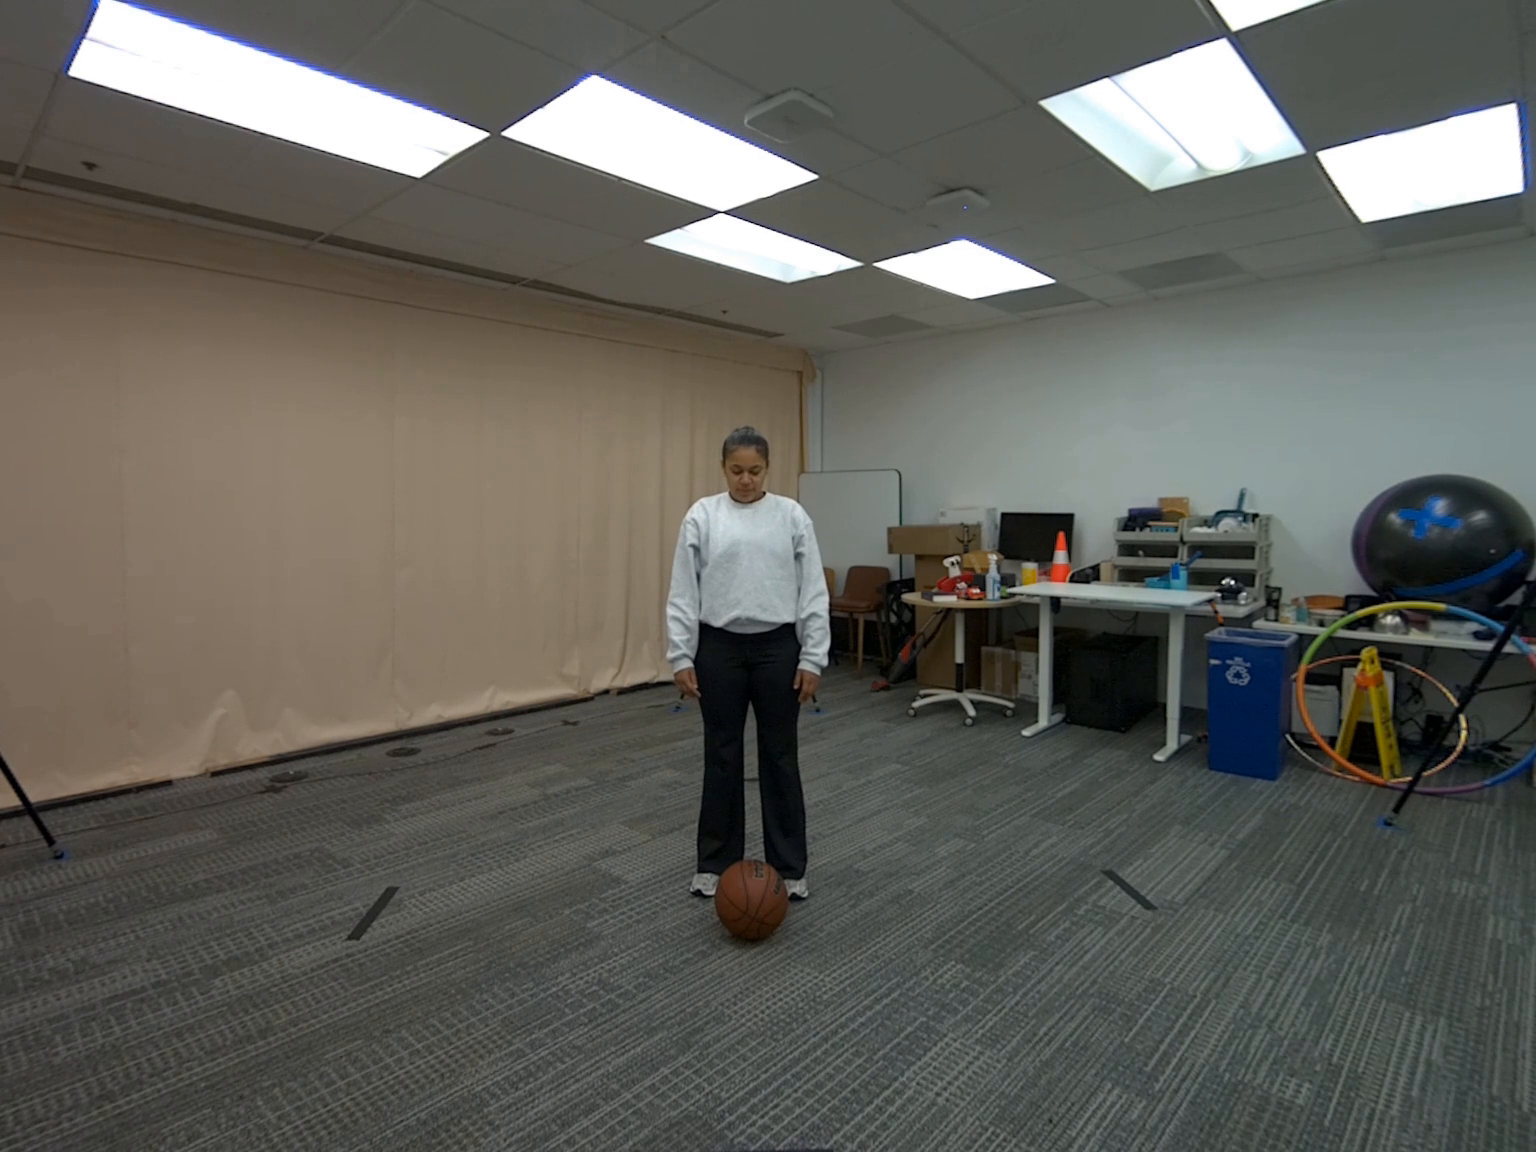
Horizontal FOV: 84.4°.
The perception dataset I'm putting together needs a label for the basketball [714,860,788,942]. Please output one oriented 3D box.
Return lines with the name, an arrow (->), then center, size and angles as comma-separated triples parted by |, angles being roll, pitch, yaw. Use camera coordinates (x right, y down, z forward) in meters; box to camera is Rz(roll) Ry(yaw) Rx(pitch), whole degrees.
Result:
basketball -> -0.057, 1.039, 2.730 | 0.236, 0.235, 0.237 | 0, 4, -2
